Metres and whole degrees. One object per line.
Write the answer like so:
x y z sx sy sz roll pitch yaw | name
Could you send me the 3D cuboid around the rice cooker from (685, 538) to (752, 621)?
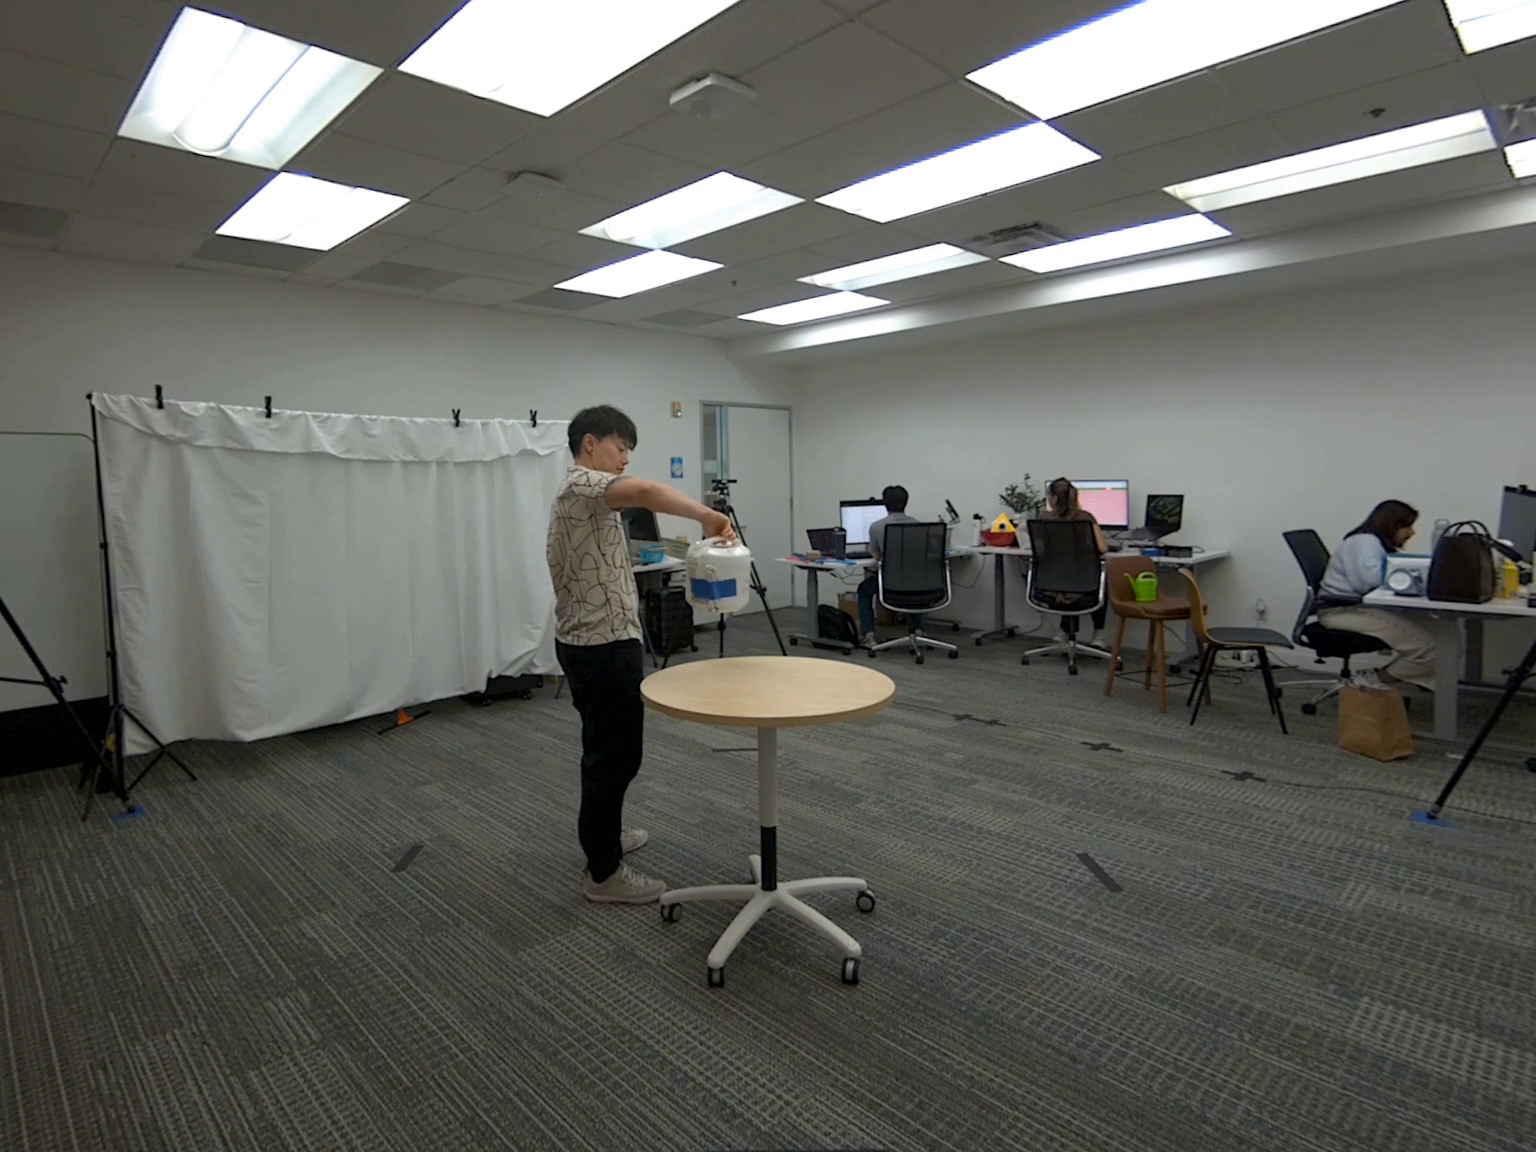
-0.163 -0.011 2.756 0.215 0.231 0.225 -5 13 -37 | rice cooker
